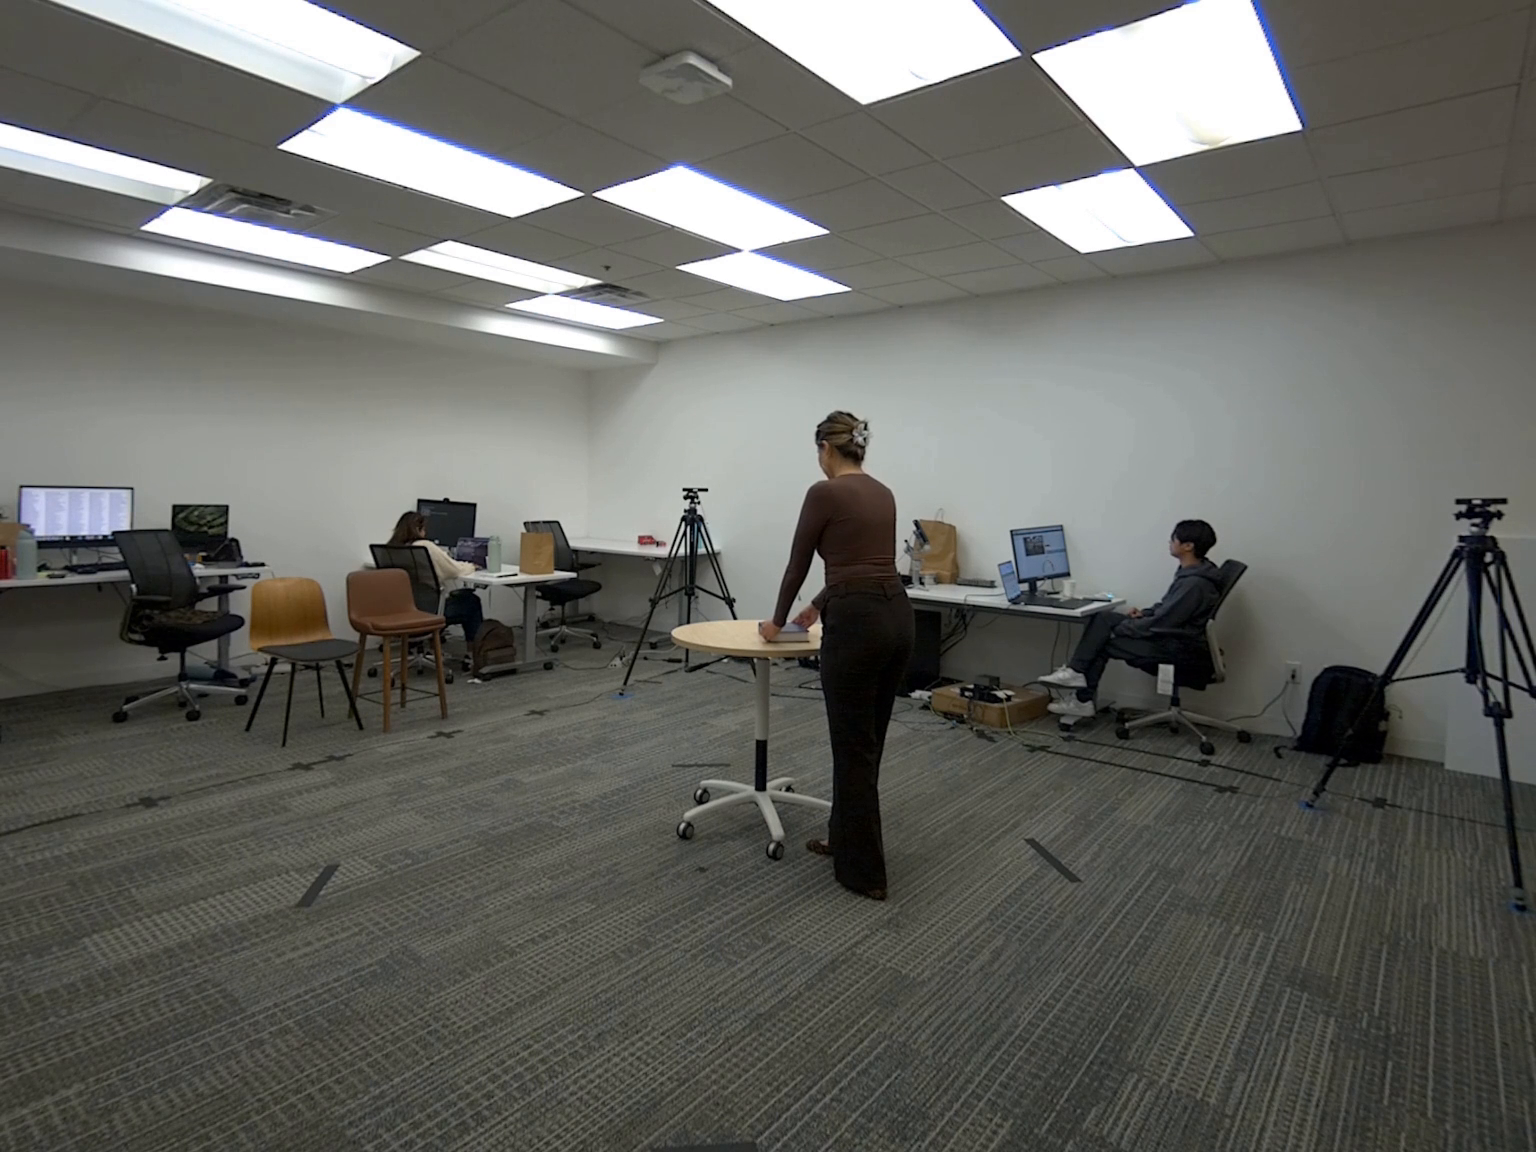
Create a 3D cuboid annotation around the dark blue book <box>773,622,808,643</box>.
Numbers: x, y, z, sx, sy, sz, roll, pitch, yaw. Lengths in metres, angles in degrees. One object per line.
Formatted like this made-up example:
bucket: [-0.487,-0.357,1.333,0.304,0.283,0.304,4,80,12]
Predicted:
dark blue book: [0.055,0.230,3.436,0.162,0.045,0.248,0,6,-8]
